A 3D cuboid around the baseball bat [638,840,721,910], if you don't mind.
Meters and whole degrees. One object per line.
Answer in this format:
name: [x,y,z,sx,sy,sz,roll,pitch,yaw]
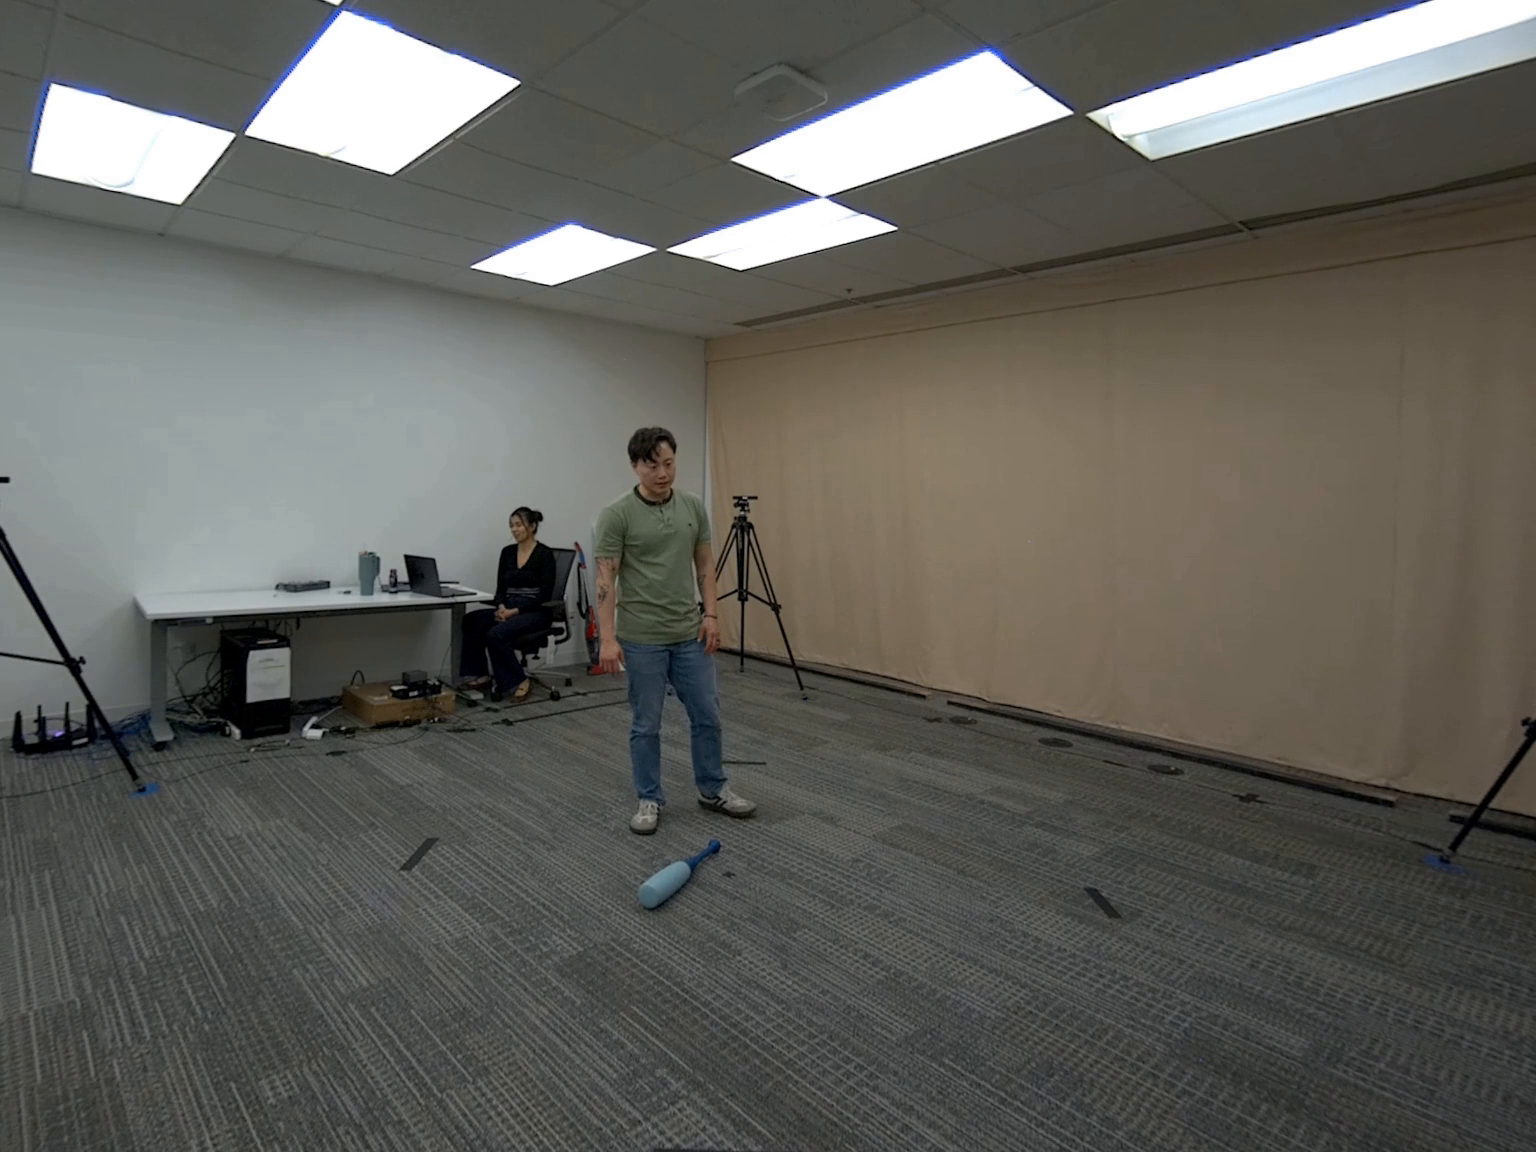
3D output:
baseball bat: [-0.315,1.067,3.055,0.090,0.089,0.534,3,2,20]
